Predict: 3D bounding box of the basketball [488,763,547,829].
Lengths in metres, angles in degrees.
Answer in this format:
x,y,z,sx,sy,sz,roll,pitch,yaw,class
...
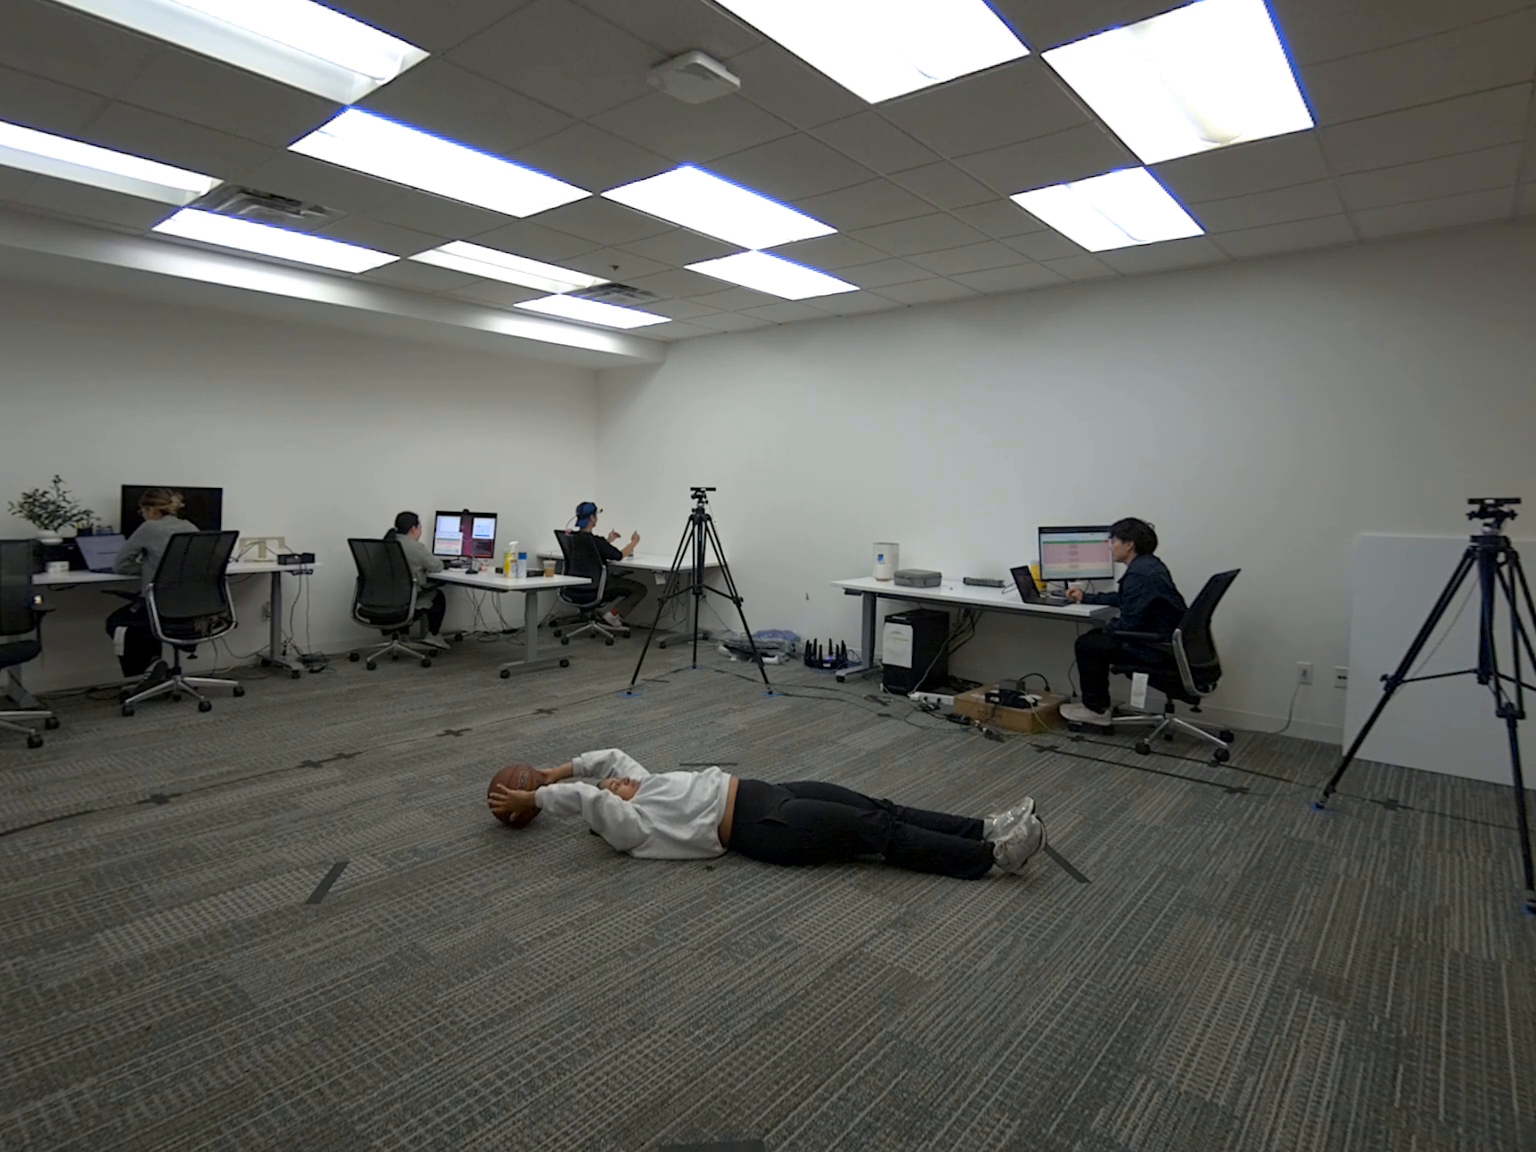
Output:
x,y,z,sx,sy,sz,roll,pitch,yaw,class
-1.042,0.896,3.491,0.236,0.235,0.237,0,4,-2,basketball
